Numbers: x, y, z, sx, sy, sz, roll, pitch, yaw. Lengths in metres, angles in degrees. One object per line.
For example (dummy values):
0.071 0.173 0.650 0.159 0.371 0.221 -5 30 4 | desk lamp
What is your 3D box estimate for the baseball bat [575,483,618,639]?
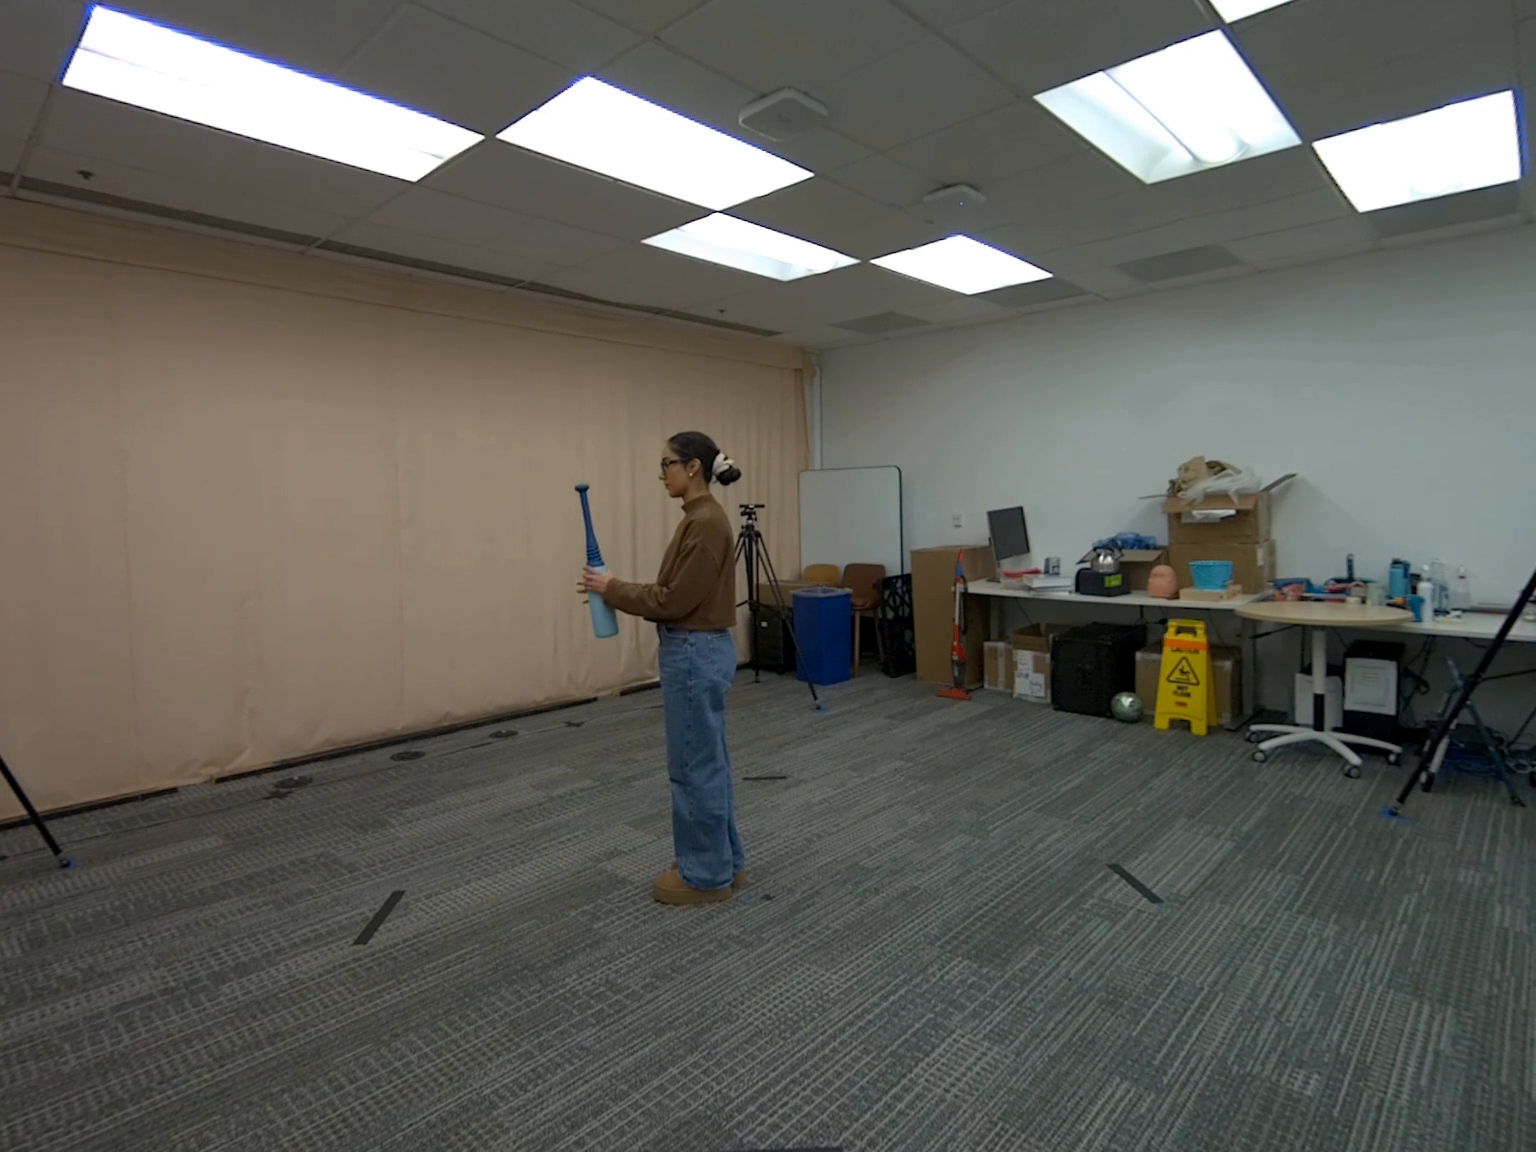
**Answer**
-0.611 -0.039 2.942 0.089 0.542 0.089 -10 2 -1 | baseball bat
